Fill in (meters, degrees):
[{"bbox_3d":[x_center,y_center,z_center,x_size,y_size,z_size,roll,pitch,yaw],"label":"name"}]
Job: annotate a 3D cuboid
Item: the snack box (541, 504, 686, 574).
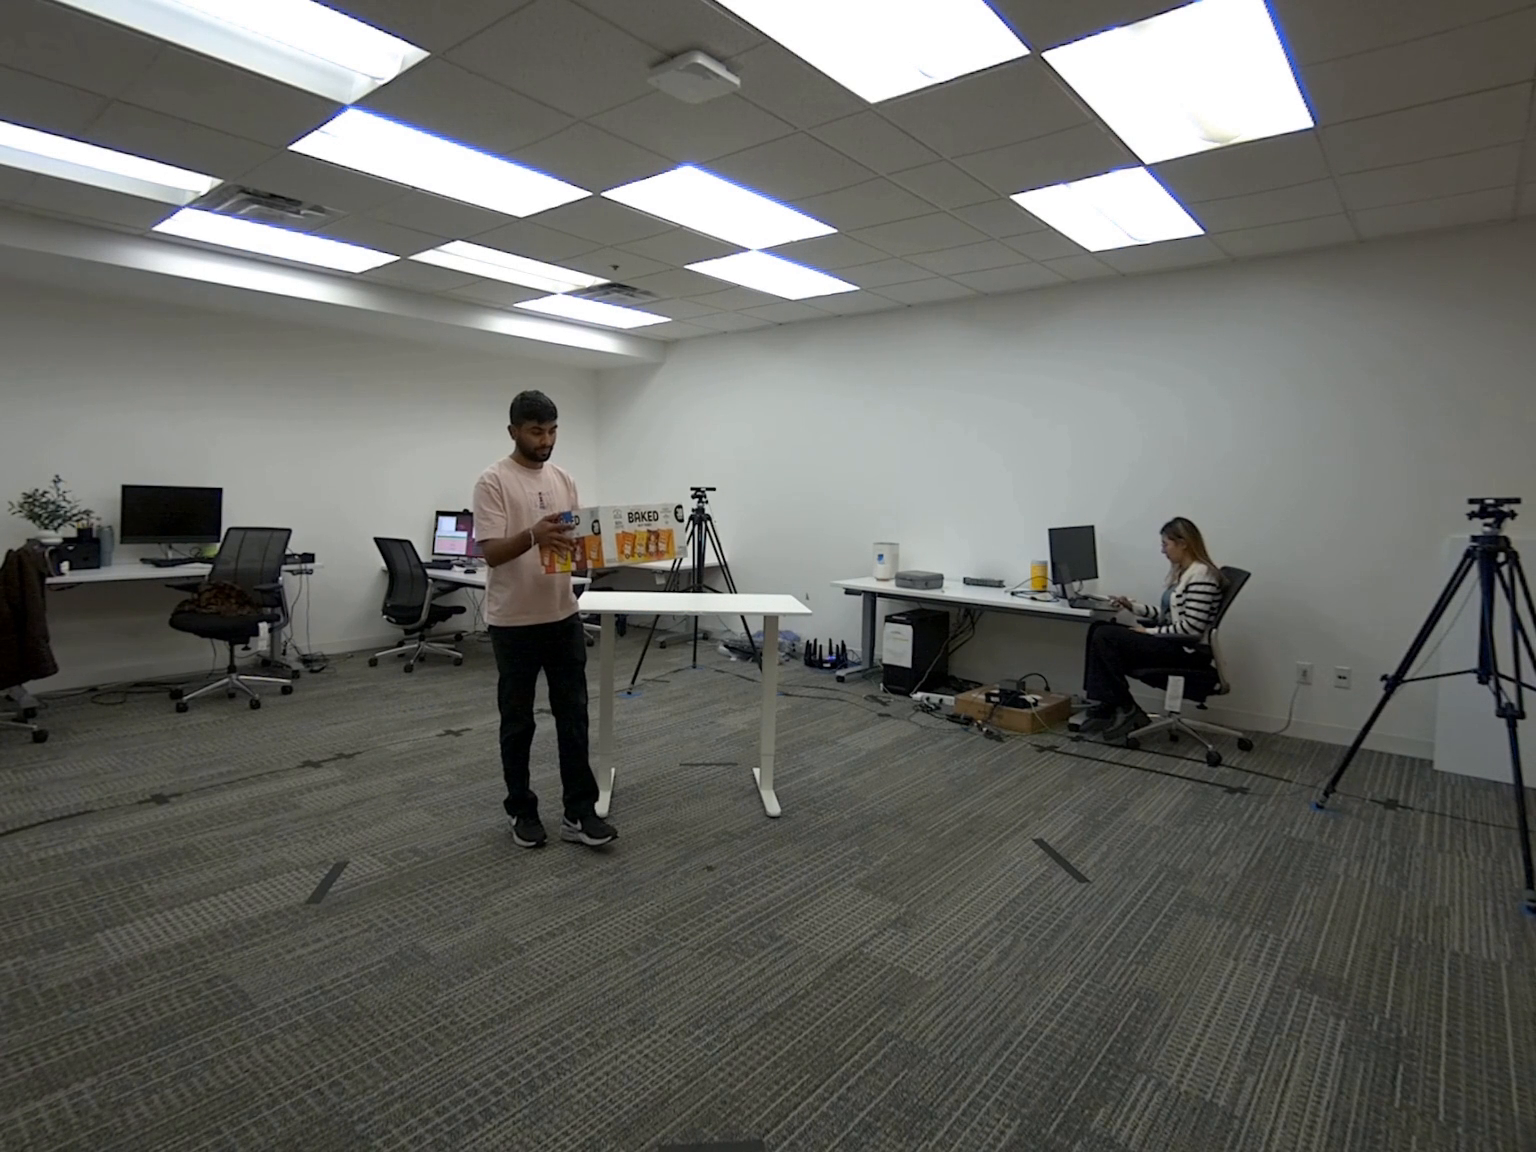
[{"bbox_3d":[-0.561,-0.137,3.021,0.350,0.206,0.394,-6,2,39],"label":"snack box"}]
